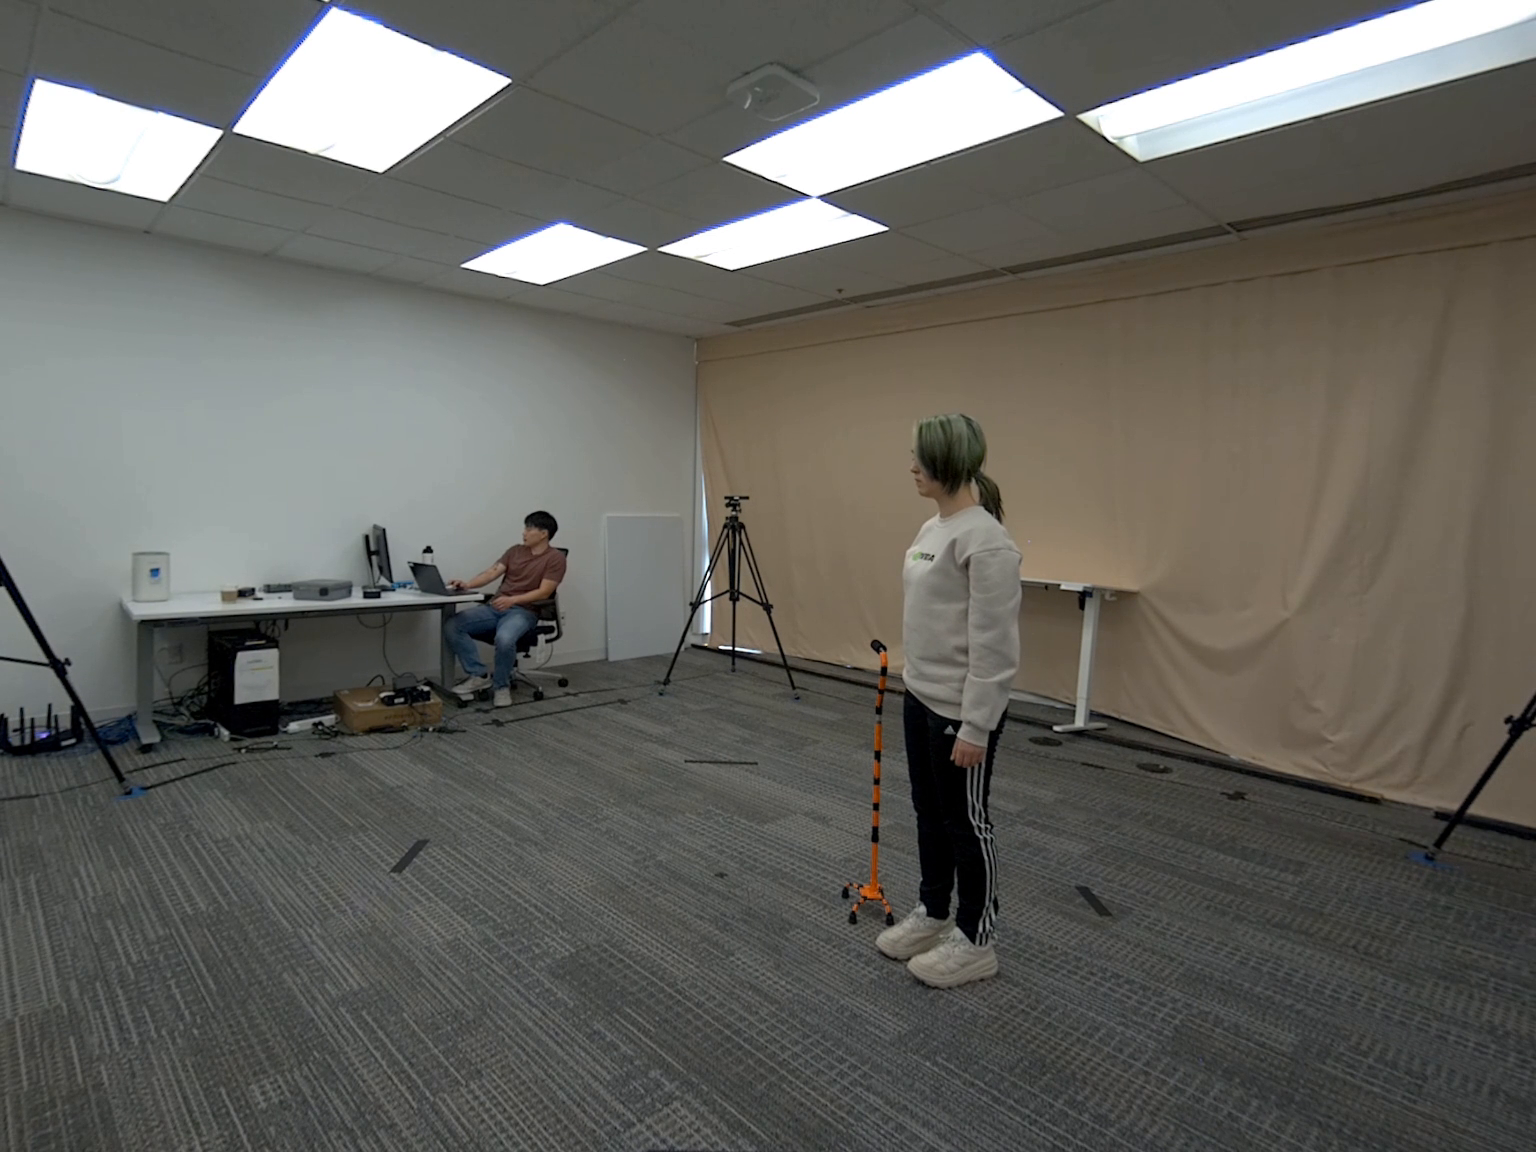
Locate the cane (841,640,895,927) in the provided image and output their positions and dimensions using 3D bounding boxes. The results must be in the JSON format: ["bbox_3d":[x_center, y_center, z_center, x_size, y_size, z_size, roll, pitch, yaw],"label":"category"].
[{"bbox_3d":[0.347,0.690,2.839,0.151,0.906,0.207,2,3,-3],"label":"cane"}]
